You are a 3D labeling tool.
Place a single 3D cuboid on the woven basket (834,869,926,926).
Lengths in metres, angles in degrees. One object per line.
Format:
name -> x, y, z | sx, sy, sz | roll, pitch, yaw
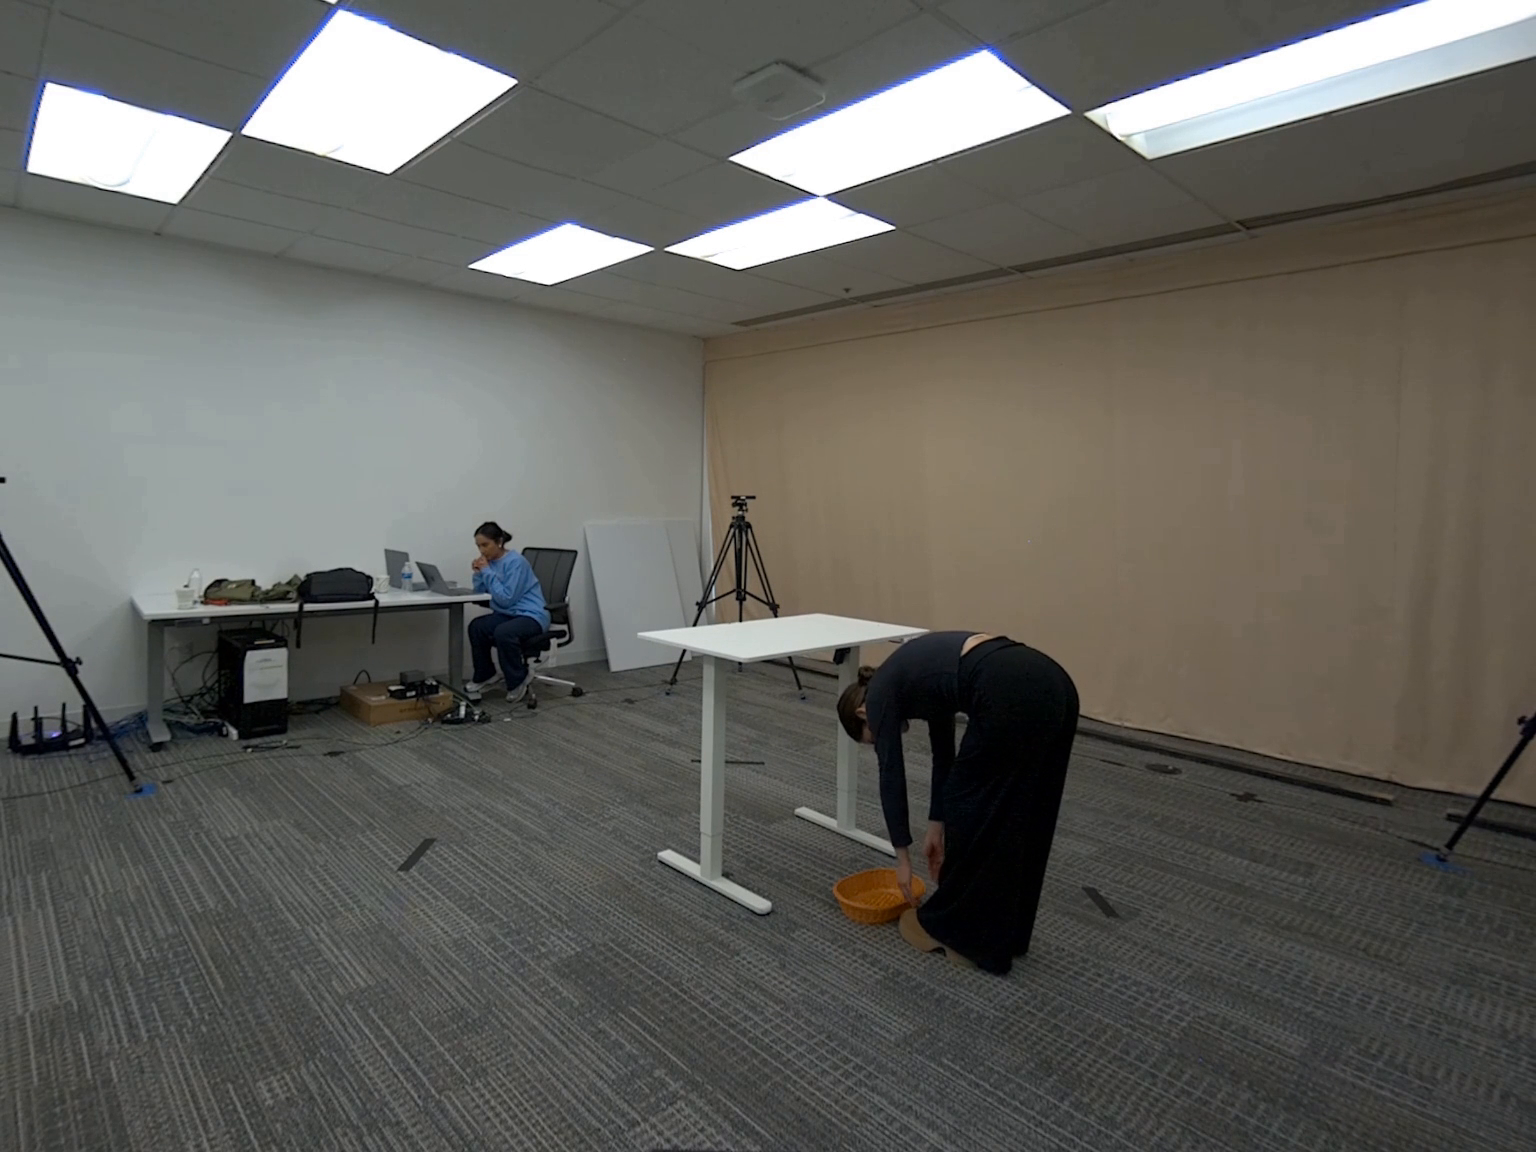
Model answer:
woven basket -> 0.379, 1.088, 2.881 | 0.342, 0.073, 0.258 | -3, 5, -38
